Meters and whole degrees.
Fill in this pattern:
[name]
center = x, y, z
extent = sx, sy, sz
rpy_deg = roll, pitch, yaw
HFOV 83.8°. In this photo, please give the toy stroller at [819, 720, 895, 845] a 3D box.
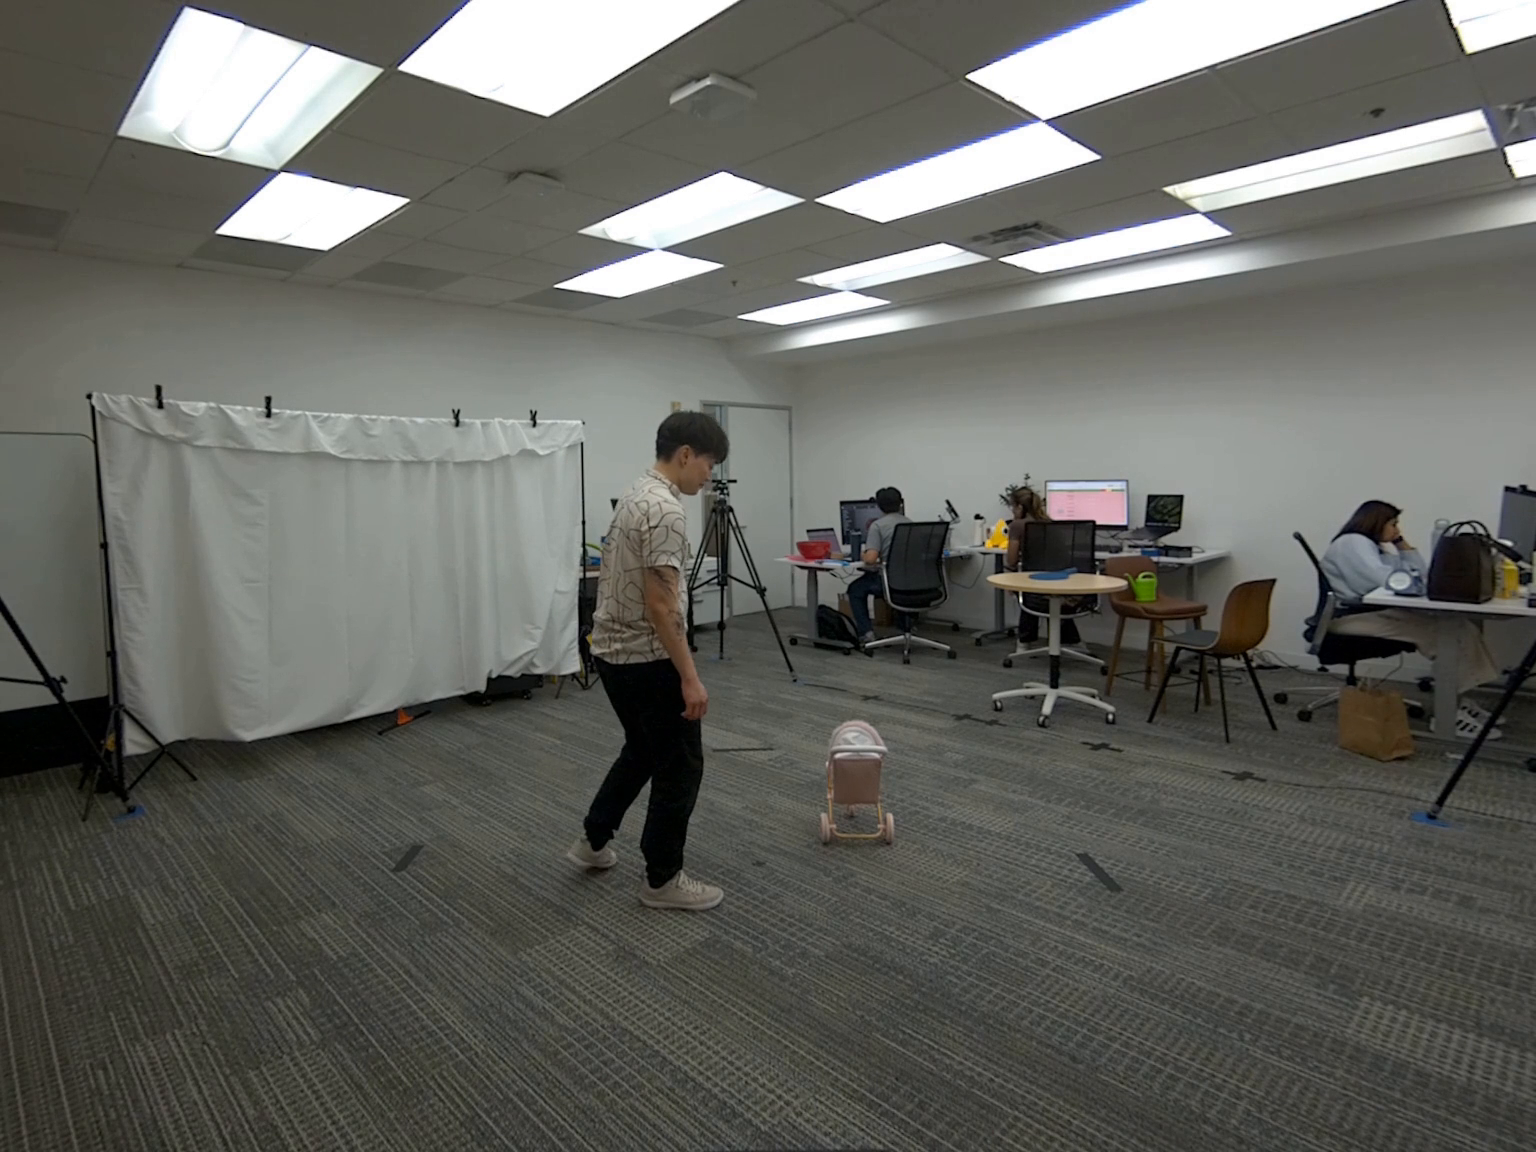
[toy stroller]
center = 0.343, 0.793, 3.332
extent = 0.283, 0.525, 0.346
rpy_deg = 0, 21, 5
